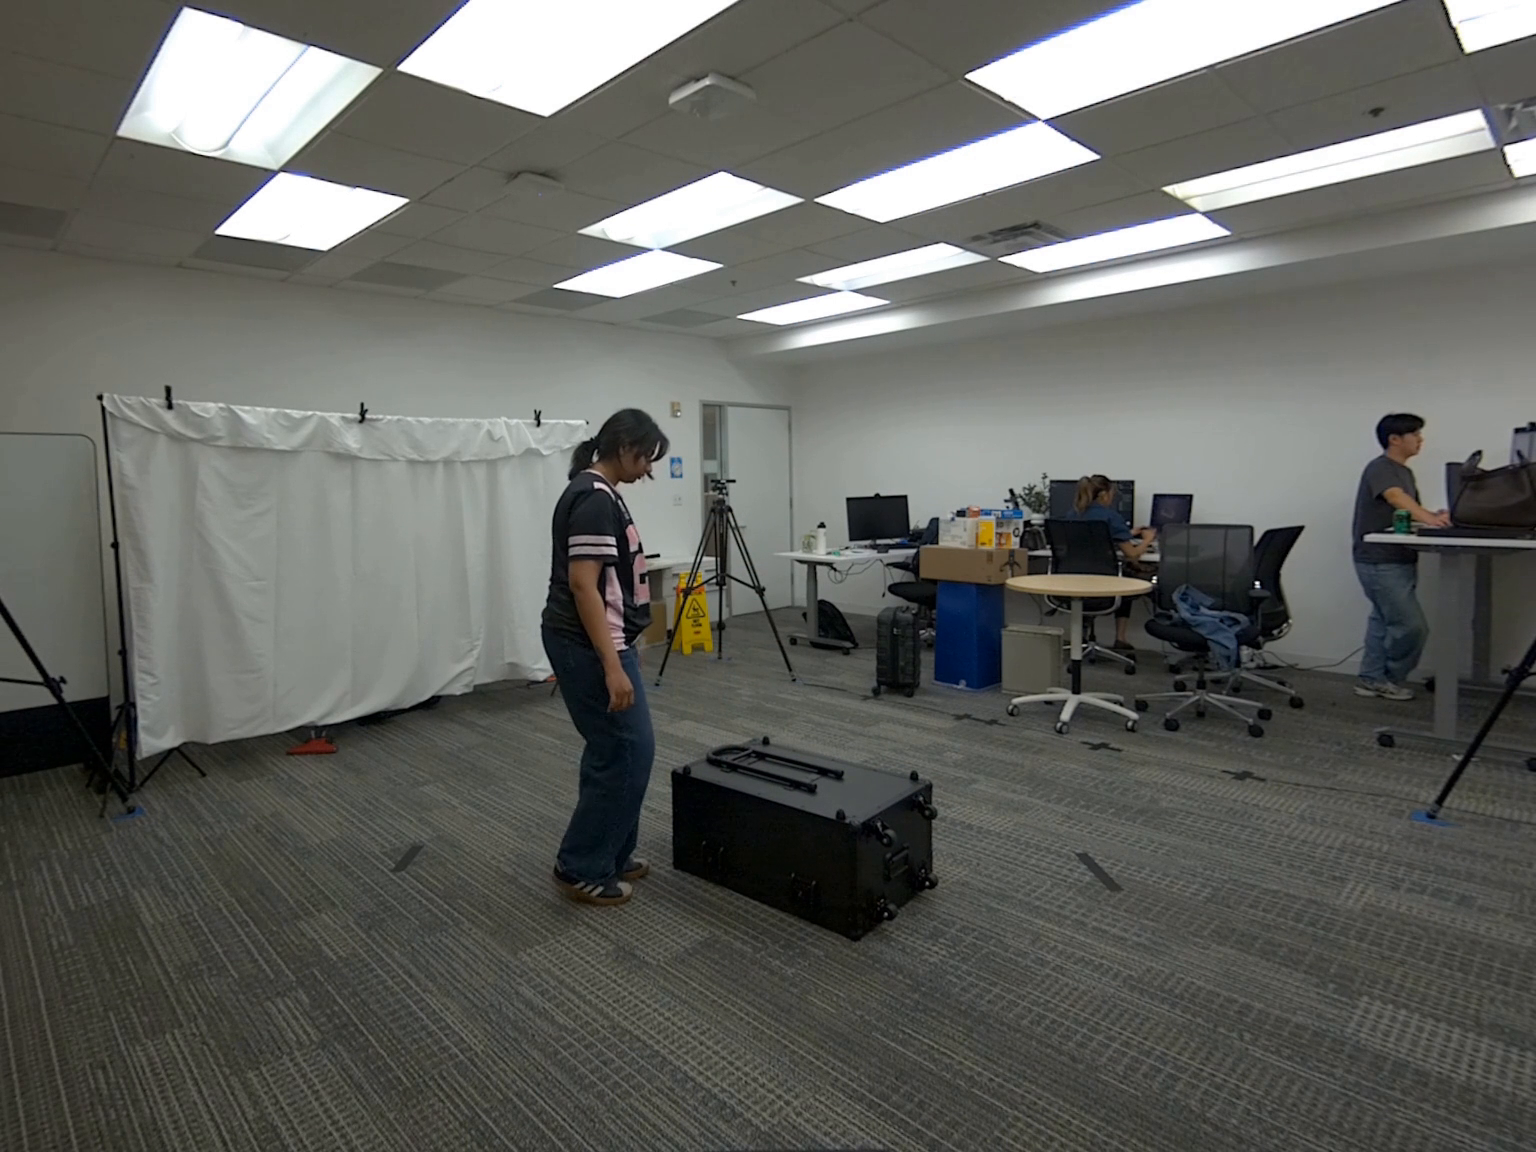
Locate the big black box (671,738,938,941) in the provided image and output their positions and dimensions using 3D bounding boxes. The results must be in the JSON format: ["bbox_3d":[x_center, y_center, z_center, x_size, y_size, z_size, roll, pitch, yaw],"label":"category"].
[{"bbox_3d":[0.142,0.870,2.979,0.895,0.384,0.509,4,6,39],"label":"big black box"}]
